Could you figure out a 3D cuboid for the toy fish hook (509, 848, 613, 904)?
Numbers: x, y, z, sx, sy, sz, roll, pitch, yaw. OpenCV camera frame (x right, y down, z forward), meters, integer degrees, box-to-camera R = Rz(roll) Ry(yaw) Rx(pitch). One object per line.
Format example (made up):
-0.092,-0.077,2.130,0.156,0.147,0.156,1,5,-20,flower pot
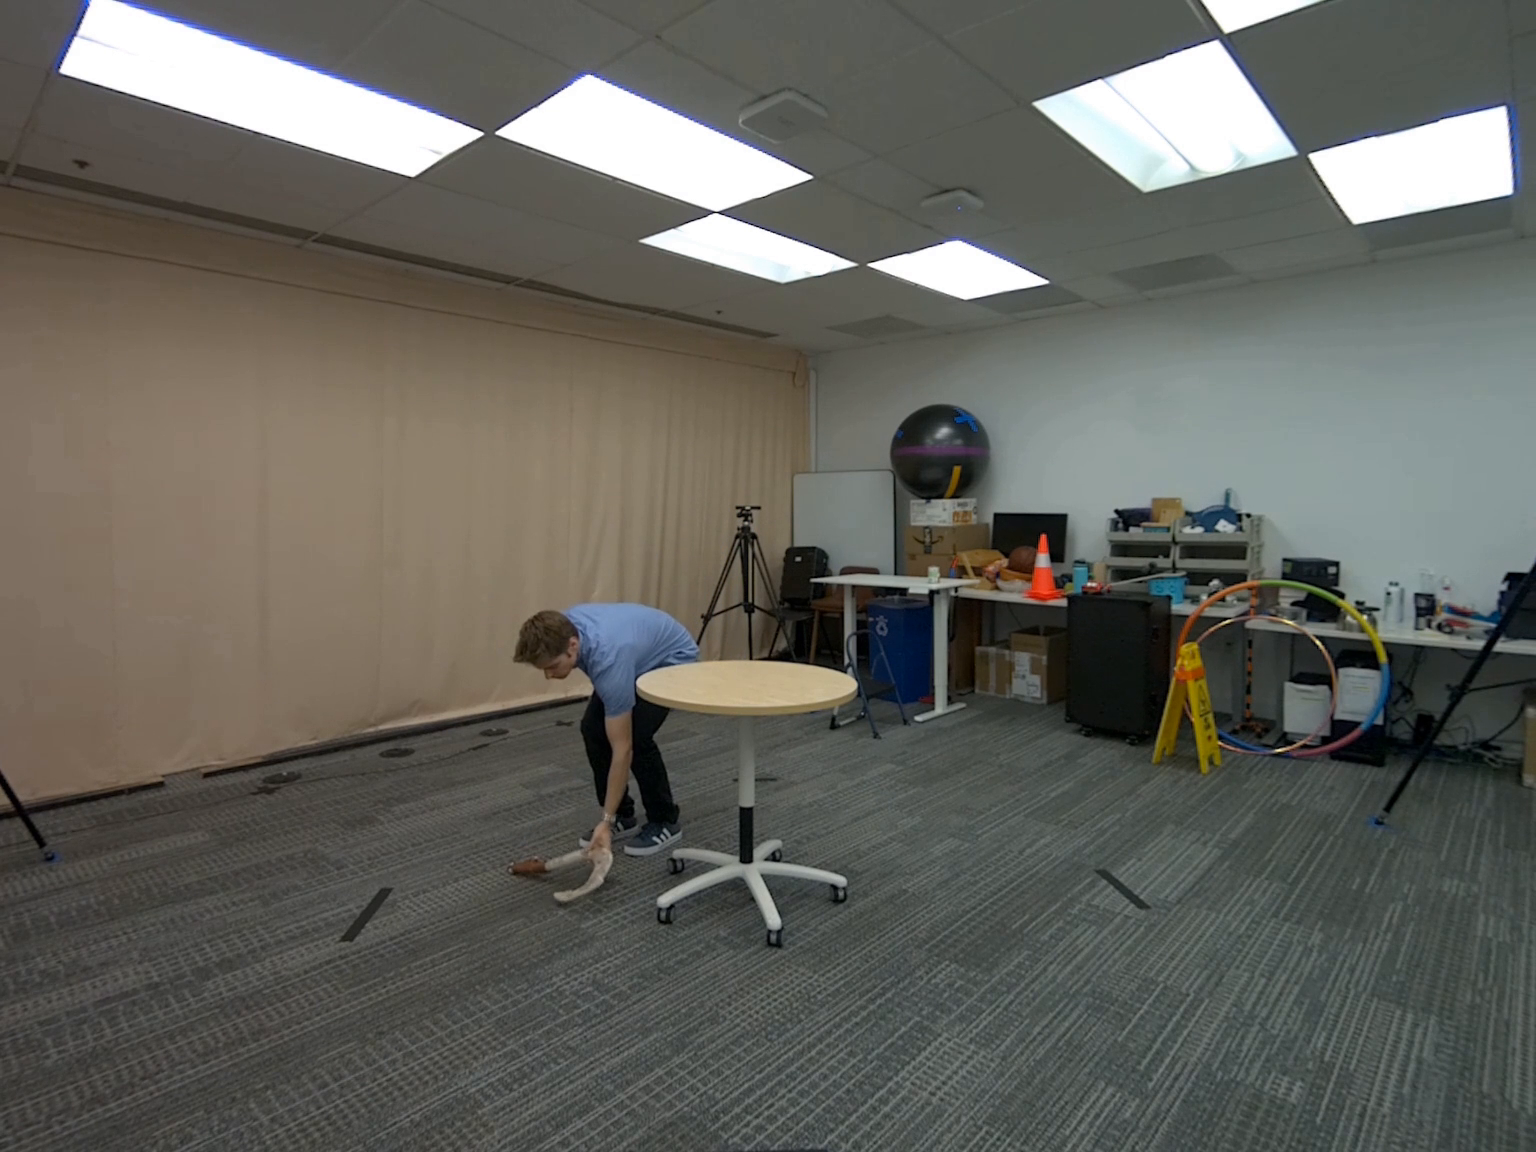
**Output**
-0.783,1.087,3.063,0.517,0.047,0.224,-16,21,26,toy fish hook
